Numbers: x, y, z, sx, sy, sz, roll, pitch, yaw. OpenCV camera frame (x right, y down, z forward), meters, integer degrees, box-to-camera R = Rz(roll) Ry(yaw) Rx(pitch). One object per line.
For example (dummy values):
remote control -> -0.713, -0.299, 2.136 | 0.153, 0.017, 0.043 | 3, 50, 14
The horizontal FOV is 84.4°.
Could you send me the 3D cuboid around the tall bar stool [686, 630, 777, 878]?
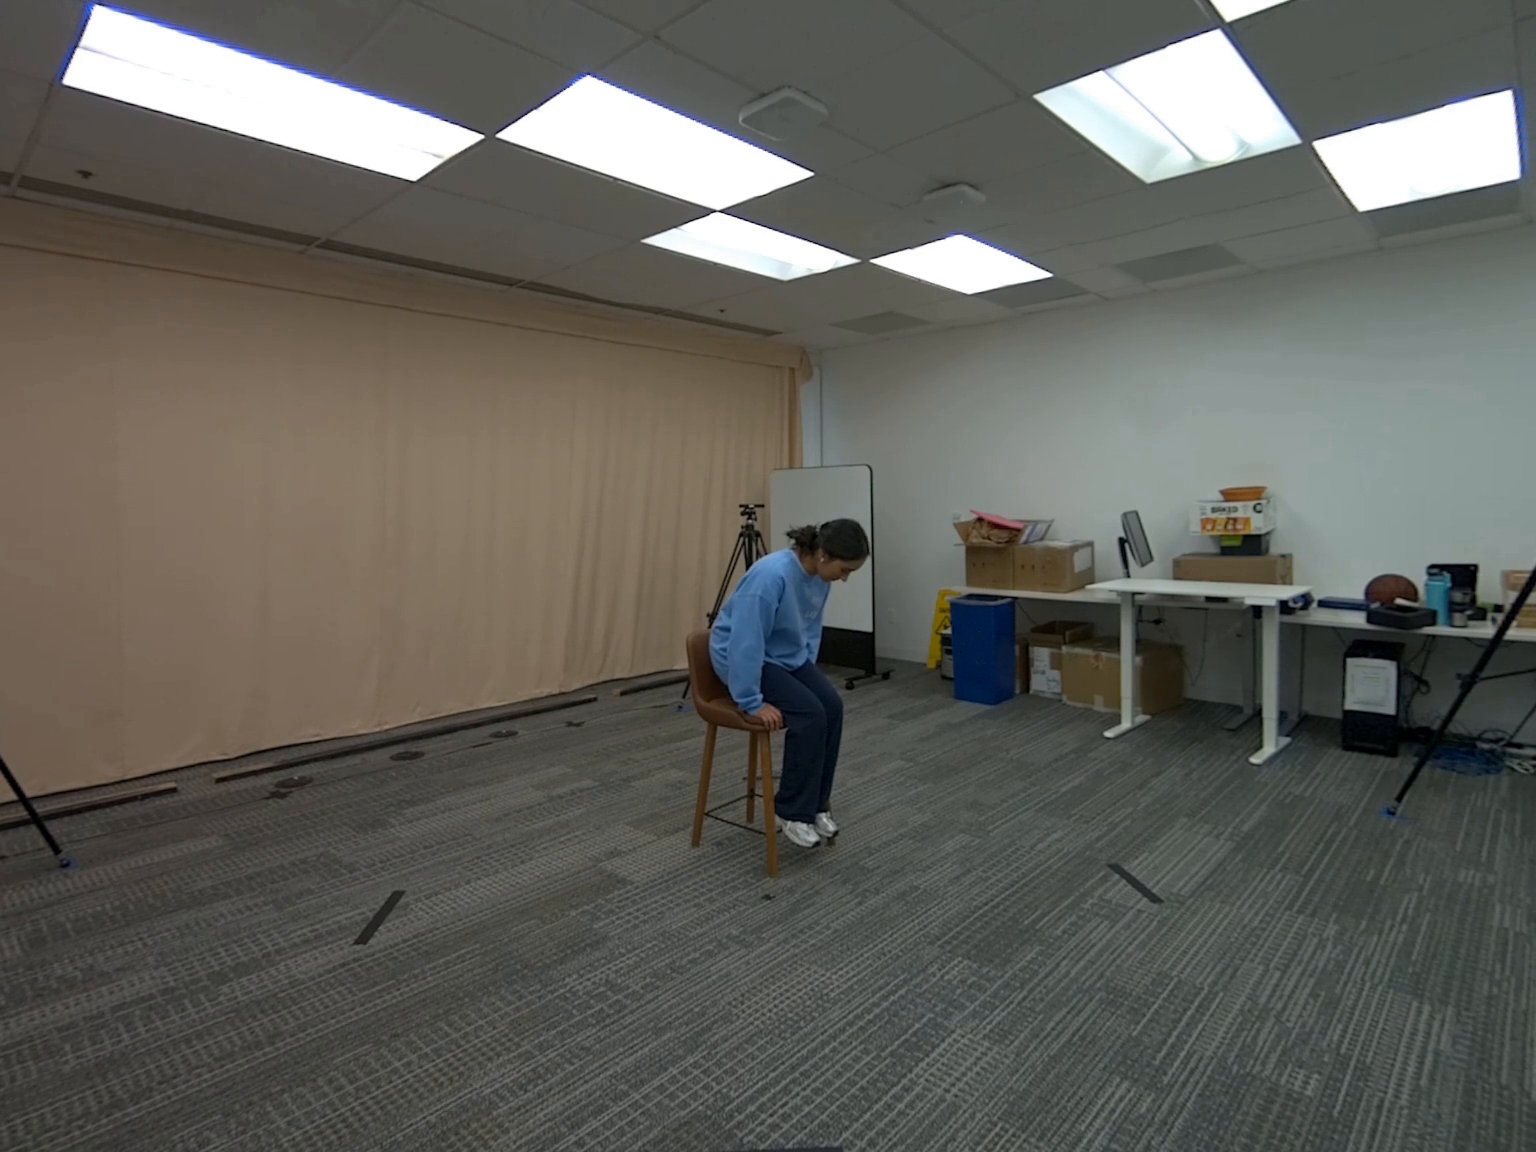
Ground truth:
tall bar stool -> -0.038, 0.667, 3.425 | 0.482, 0.889, 0.443 | -1, 2, 41
